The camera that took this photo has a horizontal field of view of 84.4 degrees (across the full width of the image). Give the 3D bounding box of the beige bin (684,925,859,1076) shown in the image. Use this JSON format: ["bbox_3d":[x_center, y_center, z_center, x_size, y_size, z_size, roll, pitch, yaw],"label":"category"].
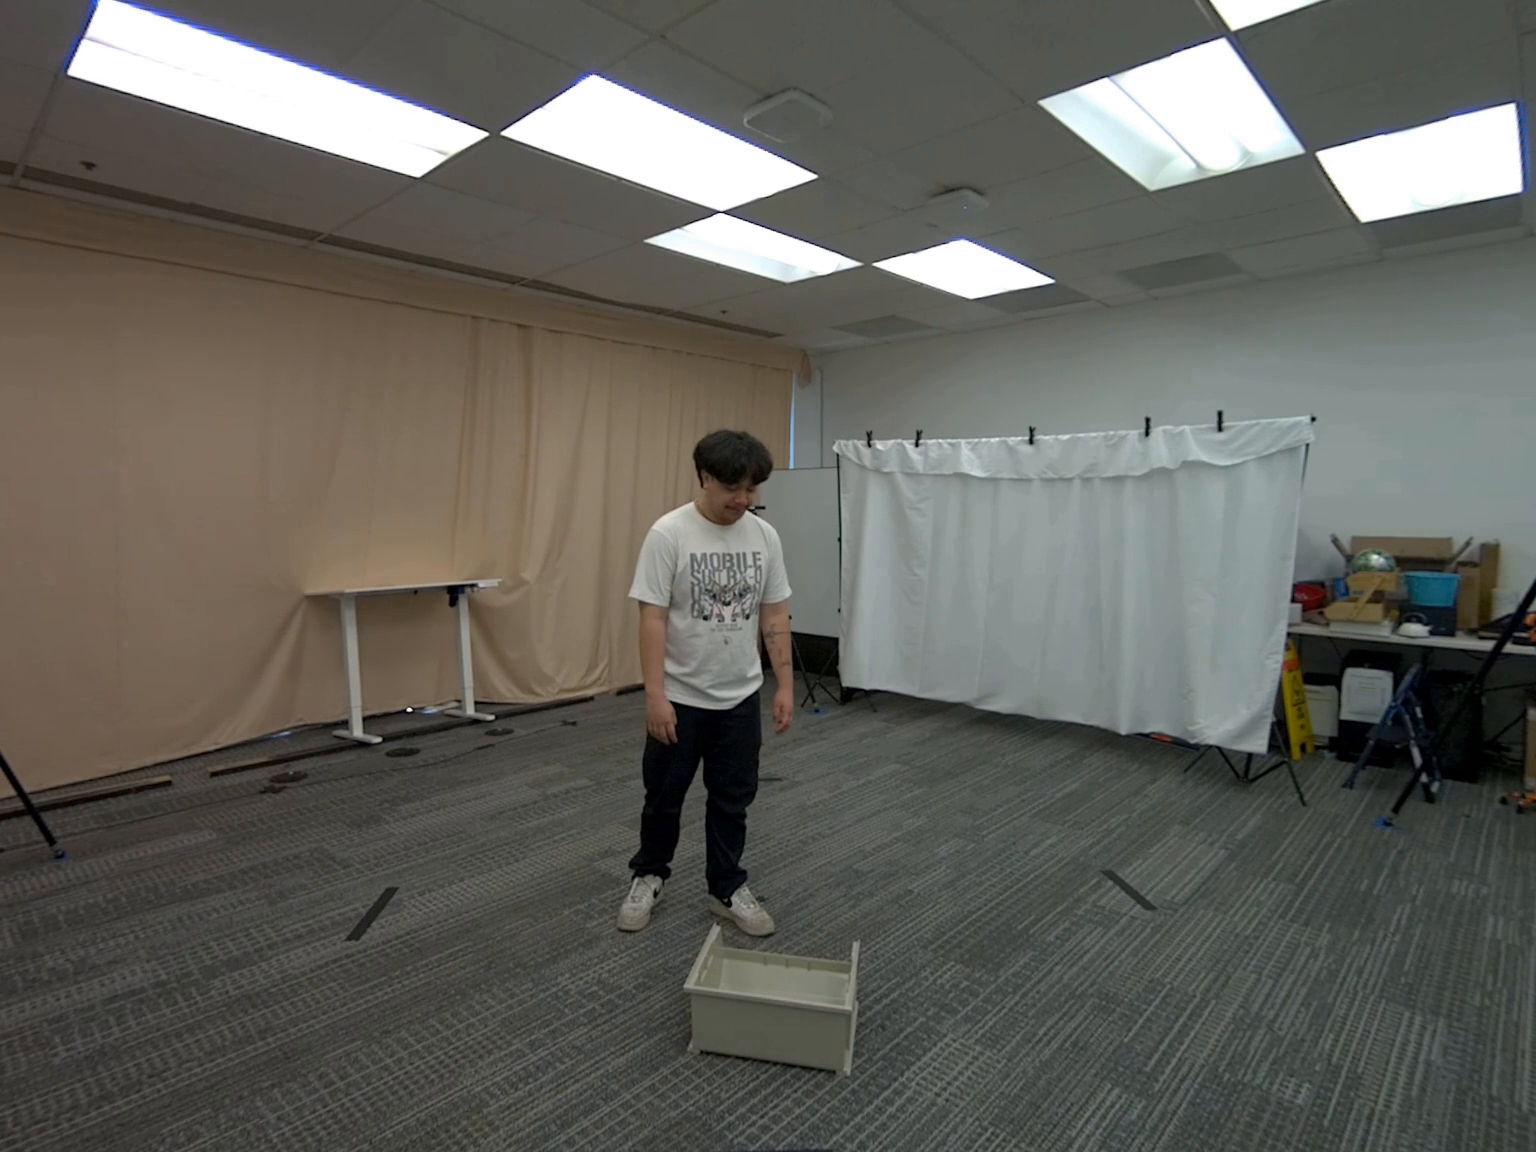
[{"bbox_3d":[0.031,1.117,2.262,0.428,0.188,0.373,1,5,11],"label":"beige bin"}]
